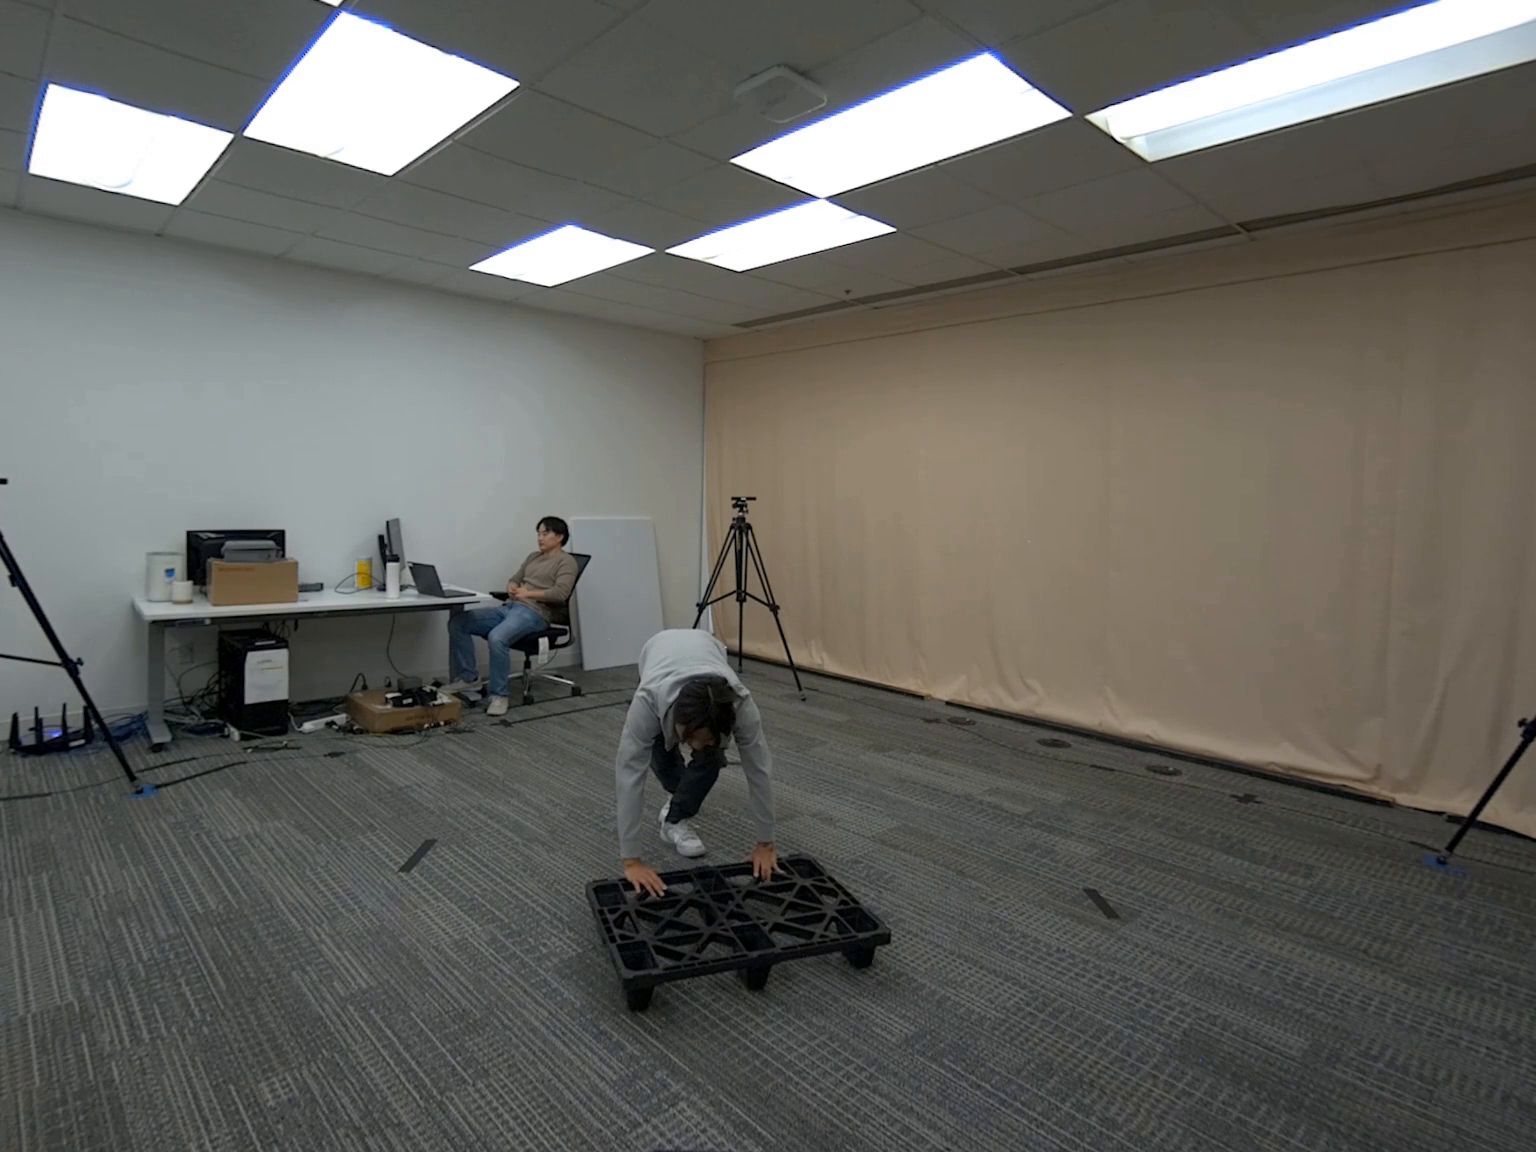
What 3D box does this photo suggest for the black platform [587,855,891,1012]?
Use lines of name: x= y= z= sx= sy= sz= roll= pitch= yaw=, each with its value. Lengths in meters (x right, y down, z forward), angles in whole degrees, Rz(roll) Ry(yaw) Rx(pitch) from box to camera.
black platform: x=-0.119 y=1.083 z=2.594 sx=0.793 sy=0.143 sz=0.616 roll=-1 pitch=5 yaw=-20
